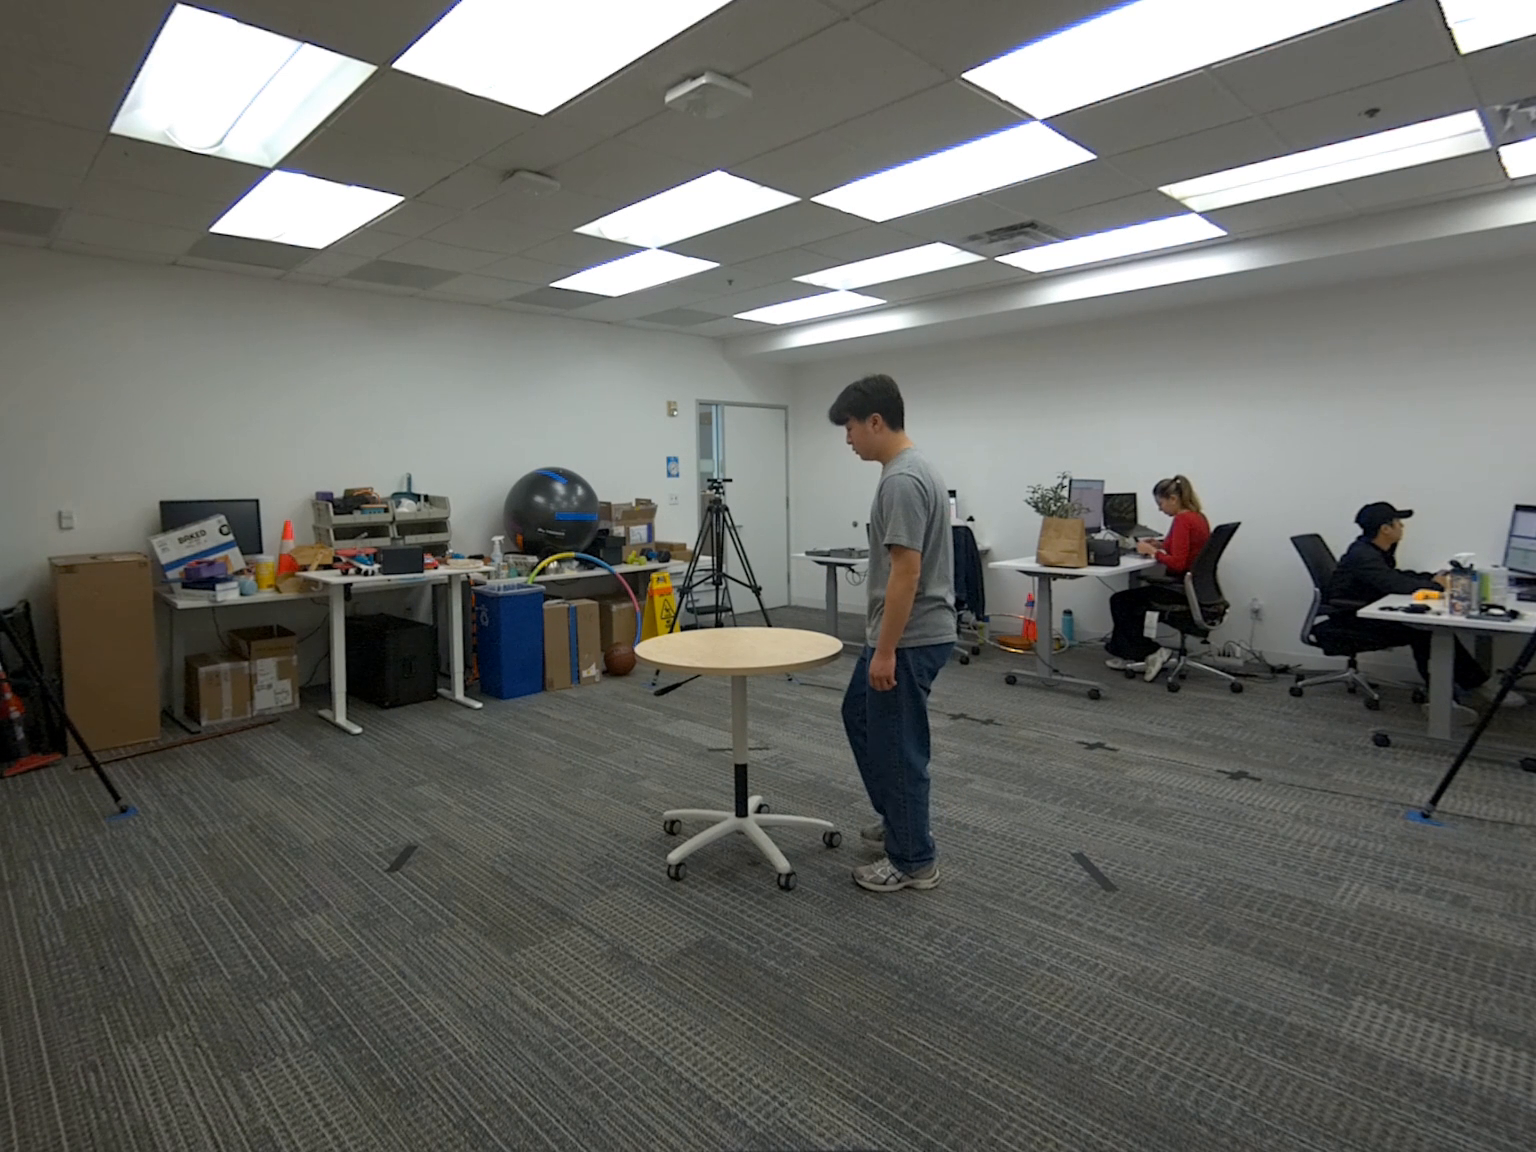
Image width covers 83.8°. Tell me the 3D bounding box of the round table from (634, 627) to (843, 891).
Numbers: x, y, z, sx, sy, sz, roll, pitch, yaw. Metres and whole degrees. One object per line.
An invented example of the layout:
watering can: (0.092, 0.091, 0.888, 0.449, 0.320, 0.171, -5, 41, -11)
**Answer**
round table: (-0.101, 0.648, 3.190, 0.763, 0.791, 0.768, -1, 5, -2)
